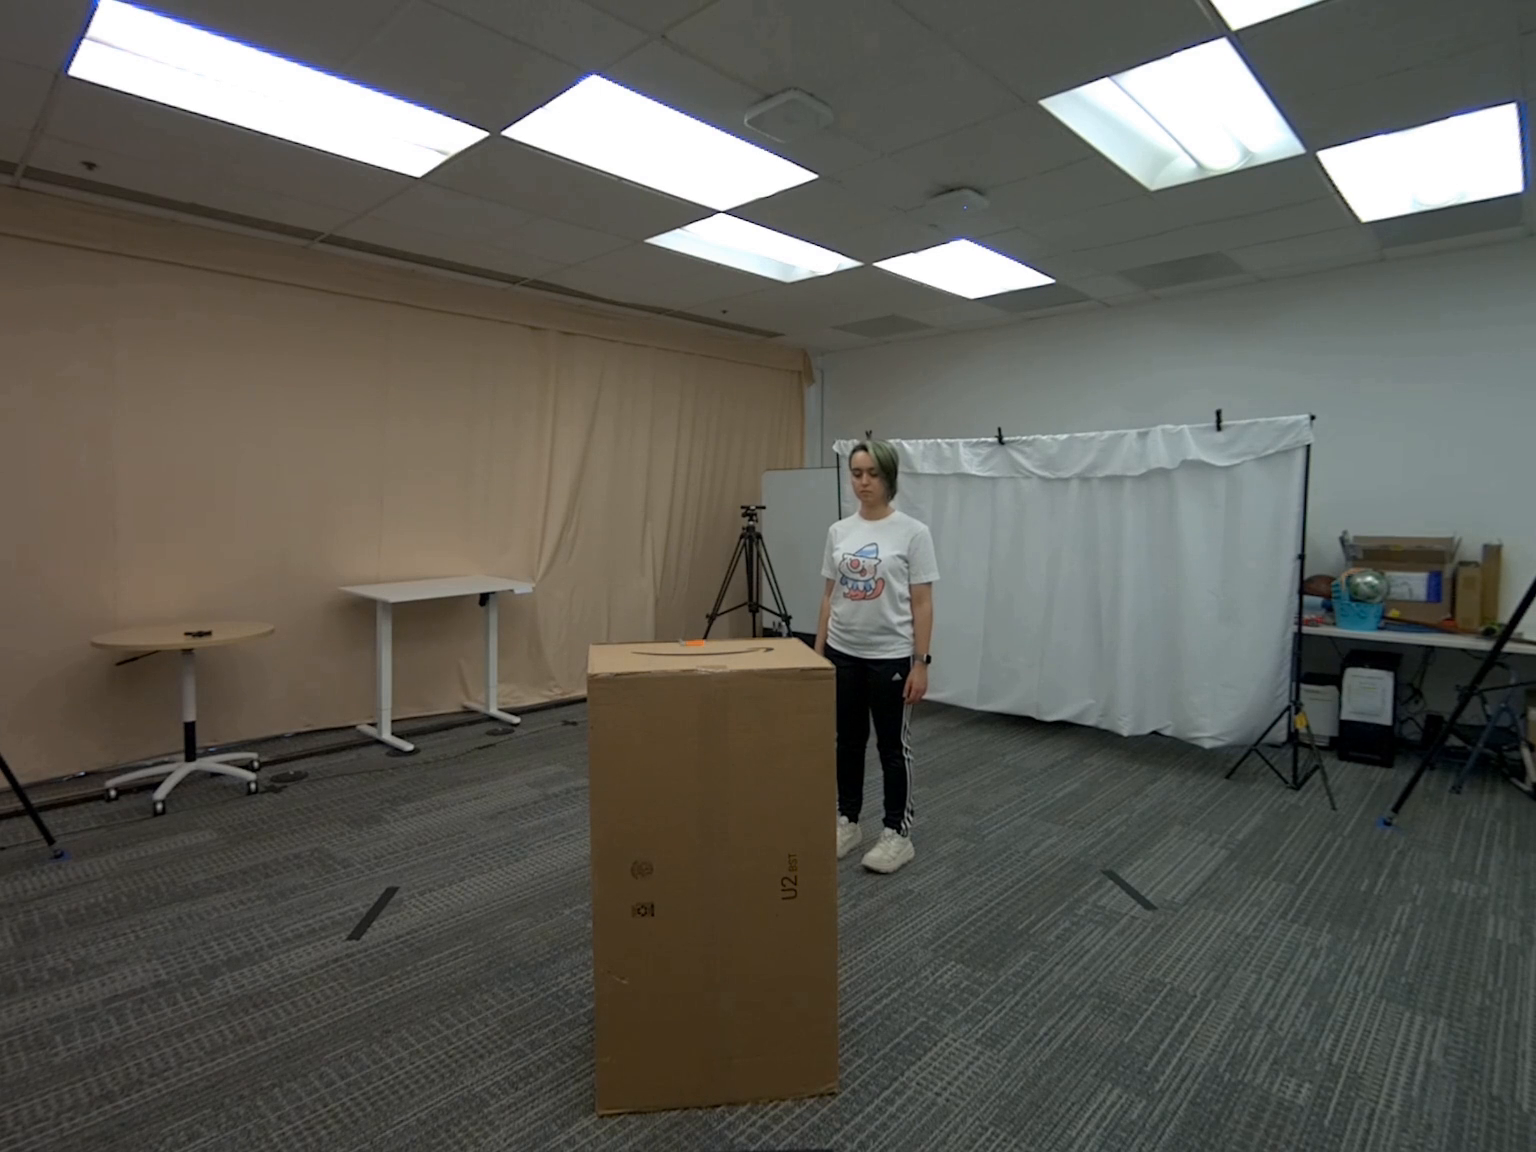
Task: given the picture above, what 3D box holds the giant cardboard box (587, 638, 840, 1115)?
[{"bbox_3d":[-0.156,0.709,2.137,0.578,1.024,0.452,-1,4,-9],"label":"giant cardboard box"}]
